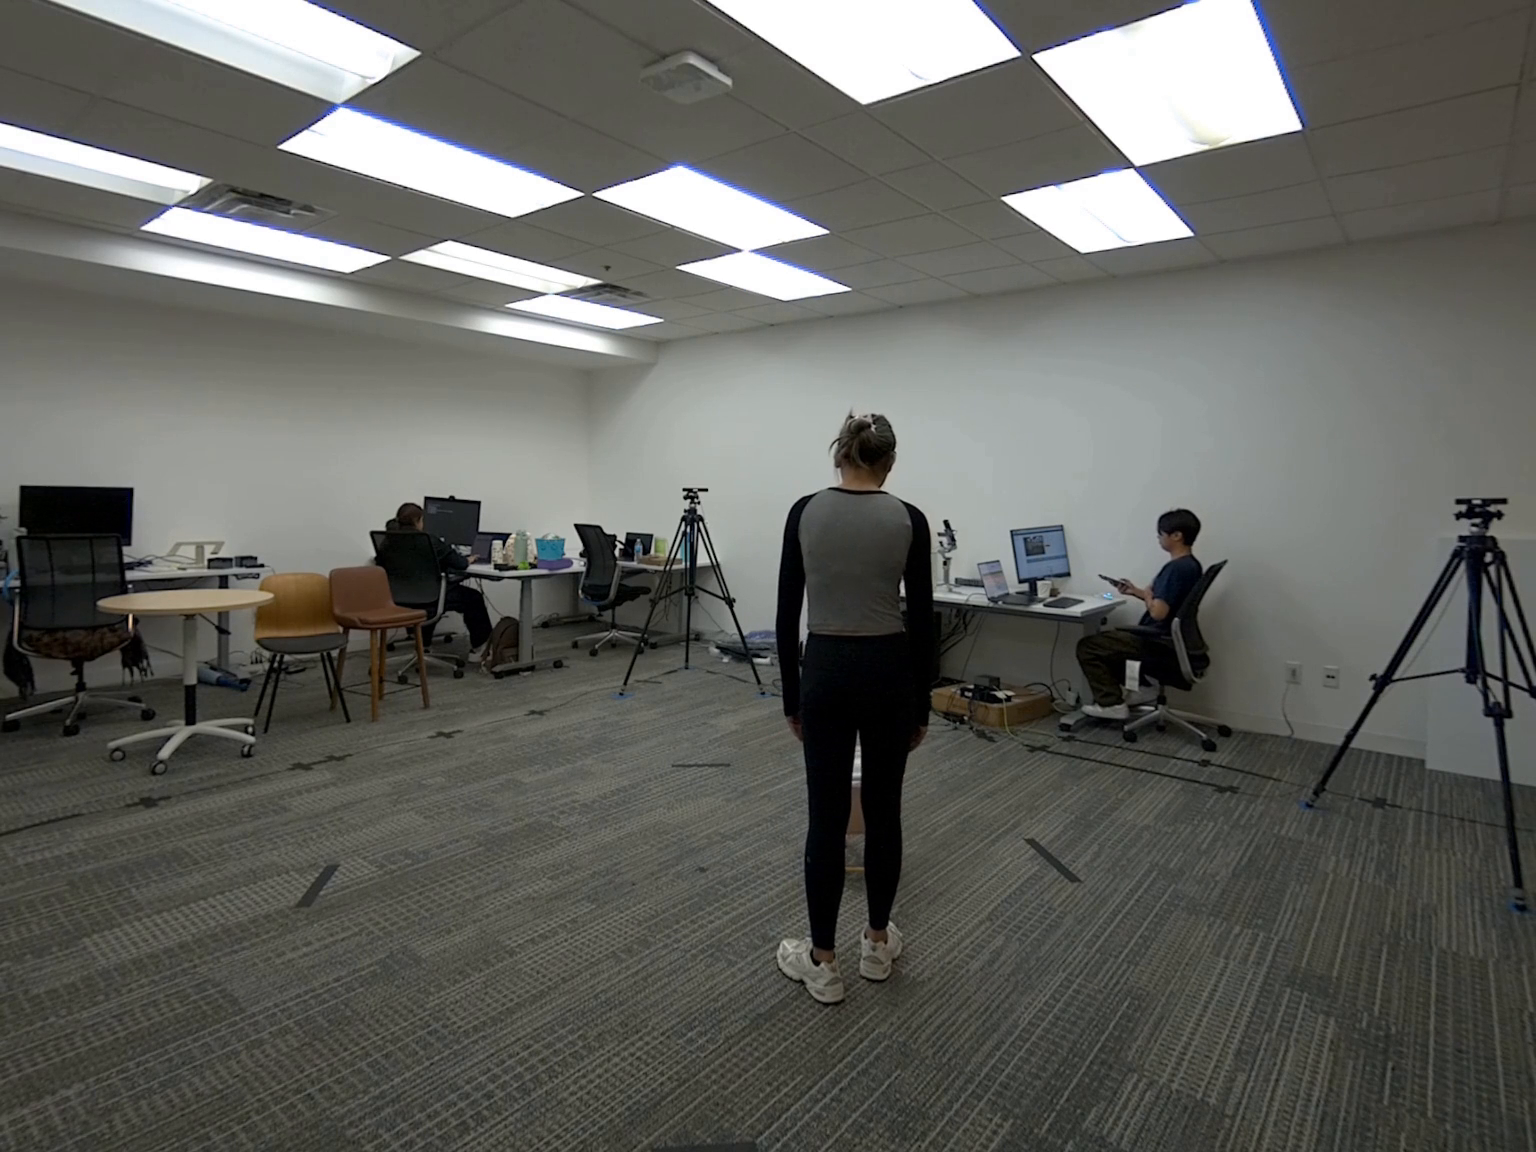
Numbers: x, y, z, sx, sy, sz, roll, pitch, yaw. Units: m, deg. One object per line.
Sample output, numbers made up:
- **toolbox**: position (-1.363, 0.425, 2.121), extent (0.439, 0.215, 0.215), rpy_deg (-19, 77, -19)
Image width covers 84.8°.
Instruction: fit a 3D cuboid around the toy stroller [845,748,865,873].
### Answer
- **toy stroller**: position (0.326, 0.855, 3.143), extent (0.281, 0.526, 0.348), rpy_deg (2, 20, -2)
